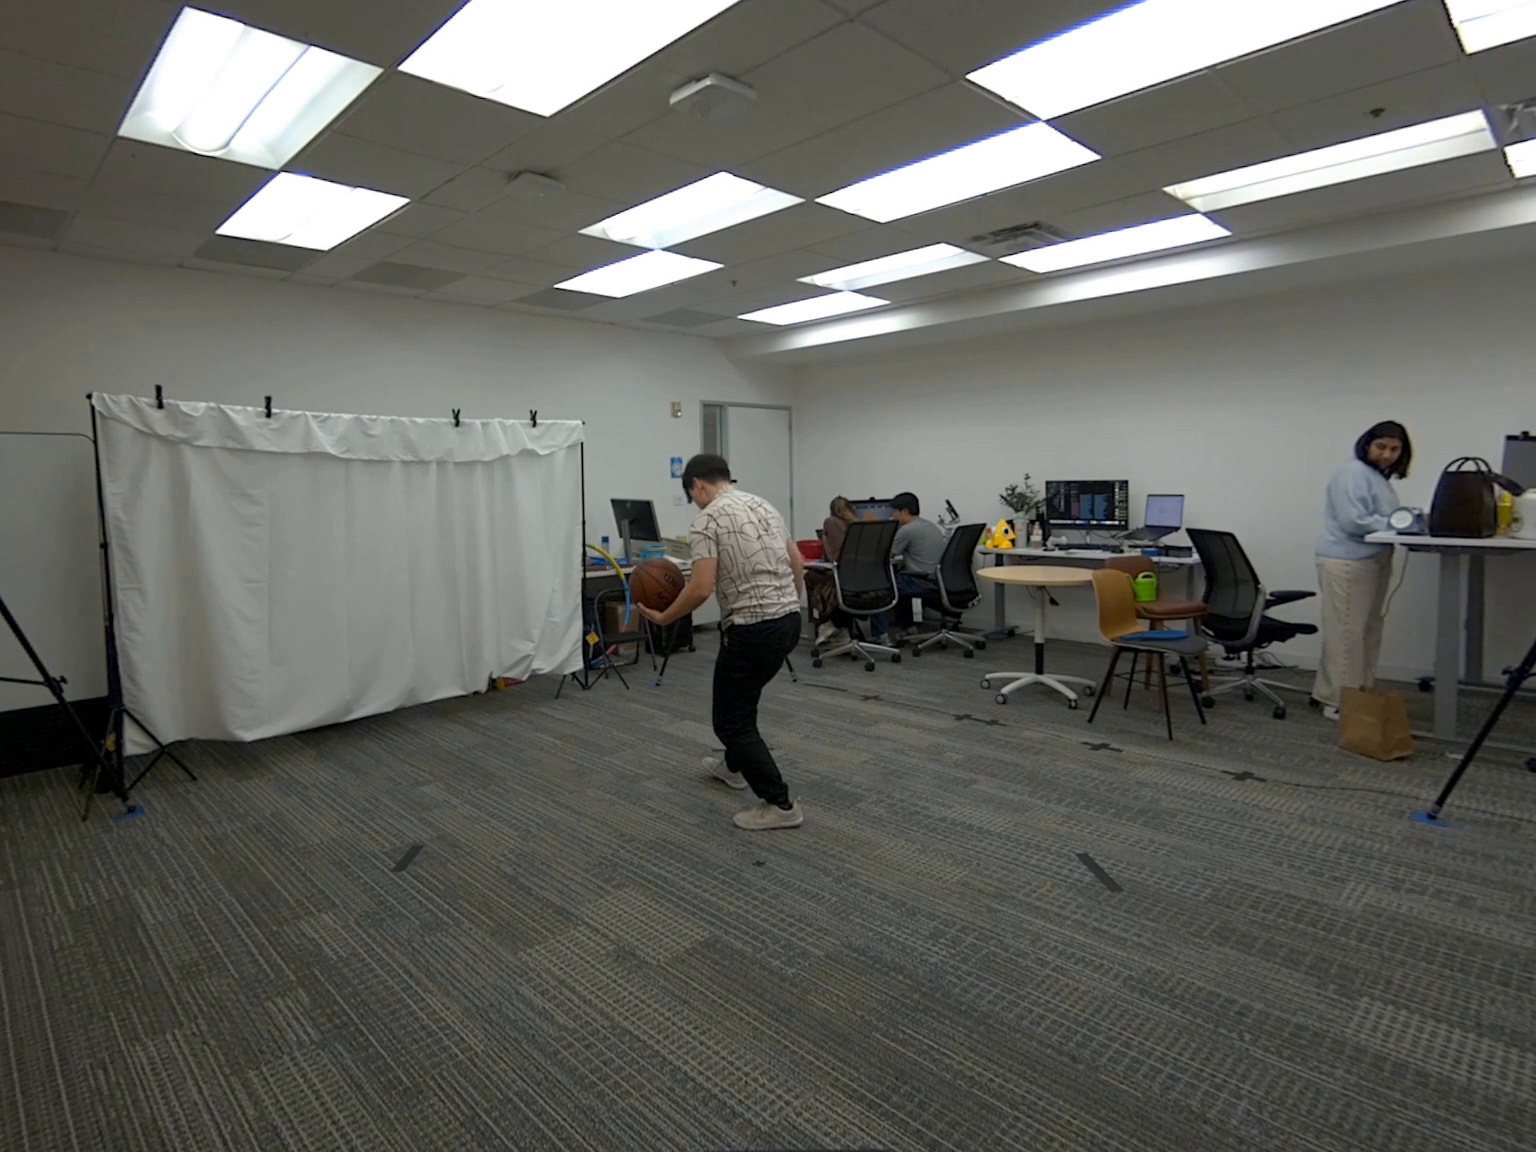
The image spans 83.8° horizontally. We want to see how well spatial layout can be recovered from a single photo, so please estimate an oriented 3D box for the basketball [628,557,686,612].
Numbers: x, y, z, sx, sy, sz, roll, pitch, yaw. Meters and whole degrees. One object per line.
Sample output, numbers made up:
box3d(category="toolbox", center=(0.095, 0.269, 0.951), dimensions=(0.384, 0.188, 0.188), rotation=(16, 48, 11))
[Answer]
box3d(category="basketball", center=(-0.464, 0.039, 3.570), dimensions=(0.236, 0.235, 0.237), rotation=(-1, 5, -2))
